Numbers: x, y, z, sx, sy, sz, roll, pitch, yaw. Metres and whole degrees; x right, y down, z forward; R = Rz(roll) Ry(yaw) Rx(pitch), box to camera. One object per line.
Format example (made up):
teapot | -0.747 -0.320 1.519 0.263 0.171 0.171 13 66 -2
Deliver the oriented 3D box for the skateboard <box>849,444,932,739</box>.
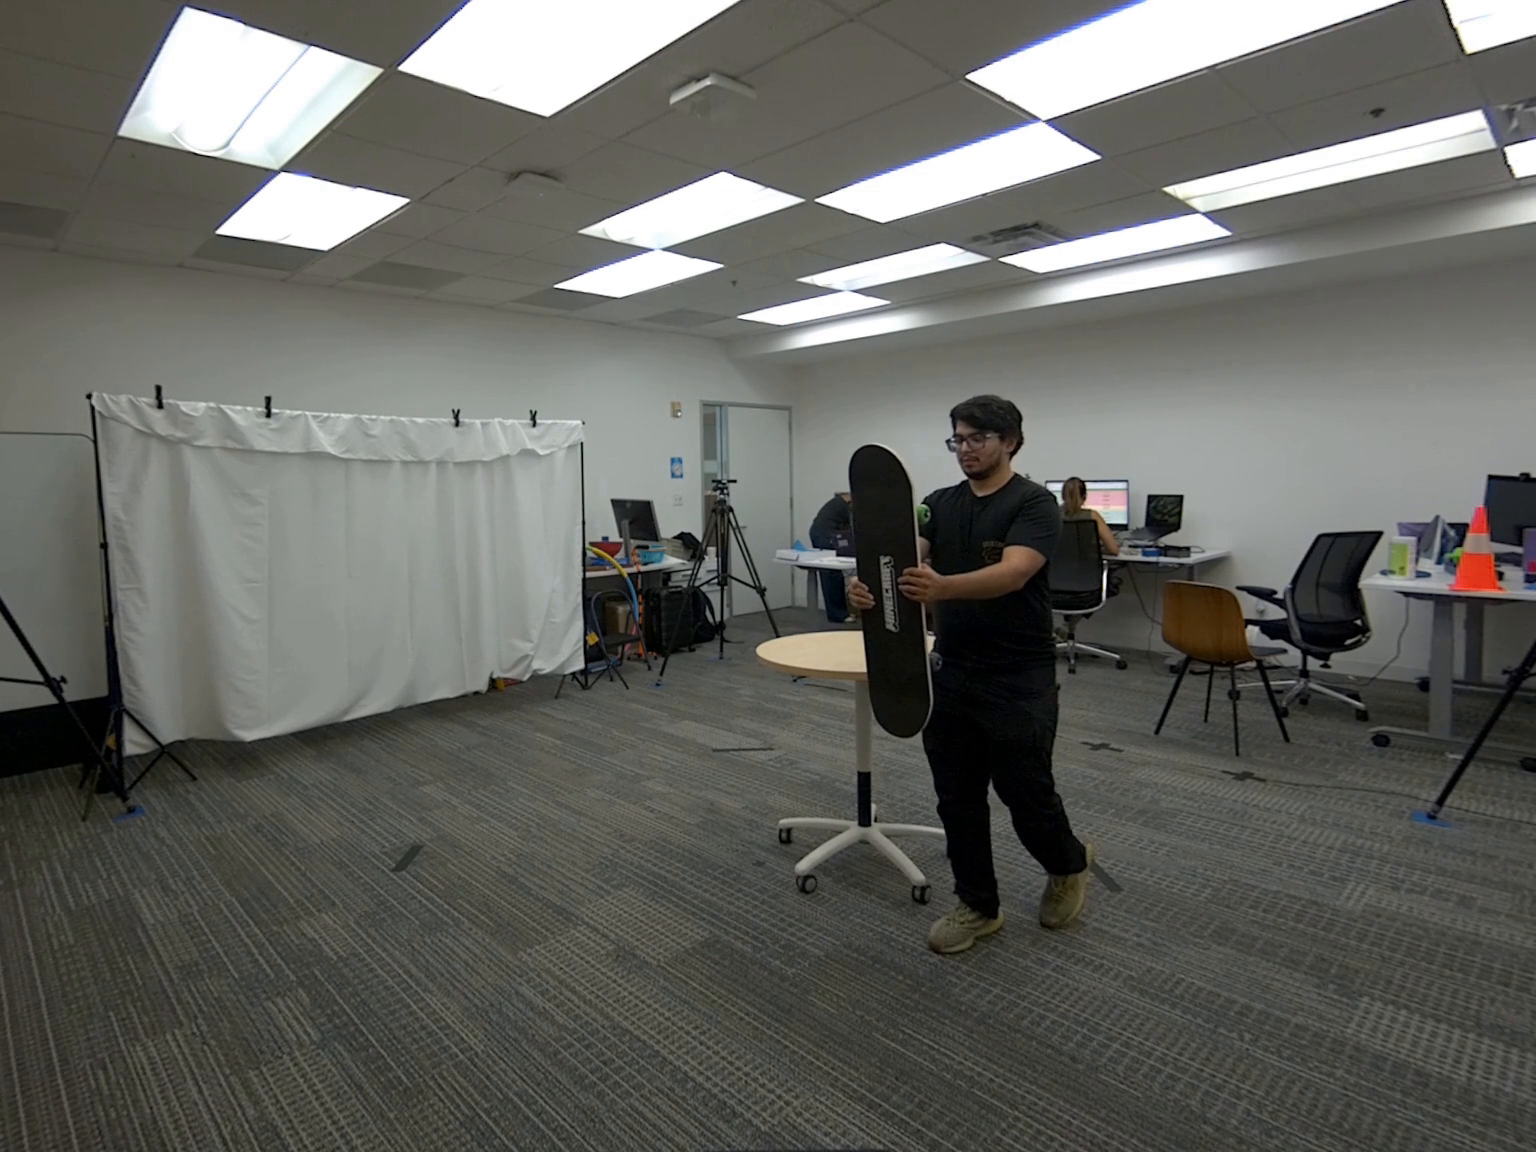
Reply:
skateboard | 0.346 0.041 2.243 0.199 0.777 0.108 2 14 42
